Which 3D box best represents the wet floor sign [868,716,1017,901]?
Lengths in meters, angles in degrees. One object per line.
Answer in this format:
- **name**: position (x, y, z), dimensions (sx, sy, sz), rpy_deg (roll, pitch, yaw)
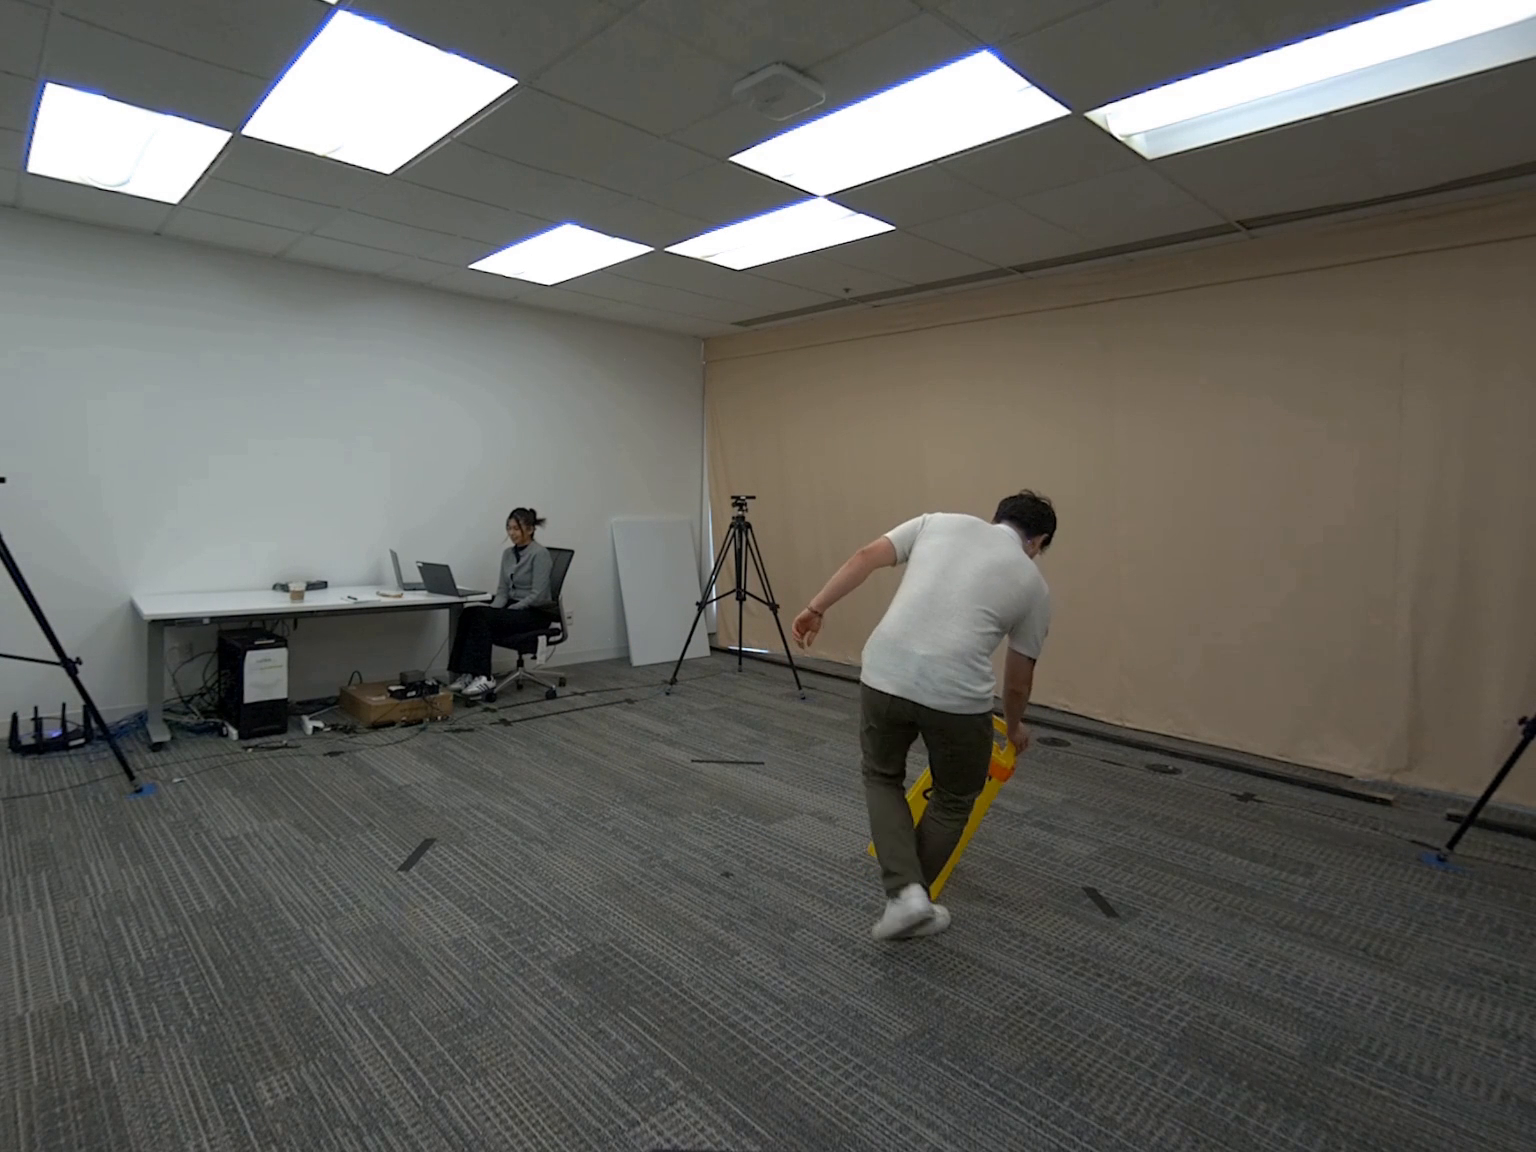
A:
- **wet floor sign**: position (0.666, 0.784, 3.039), dimensions (0.288, 0.643, 0.285), rpy_deg (33, 15, 19)
